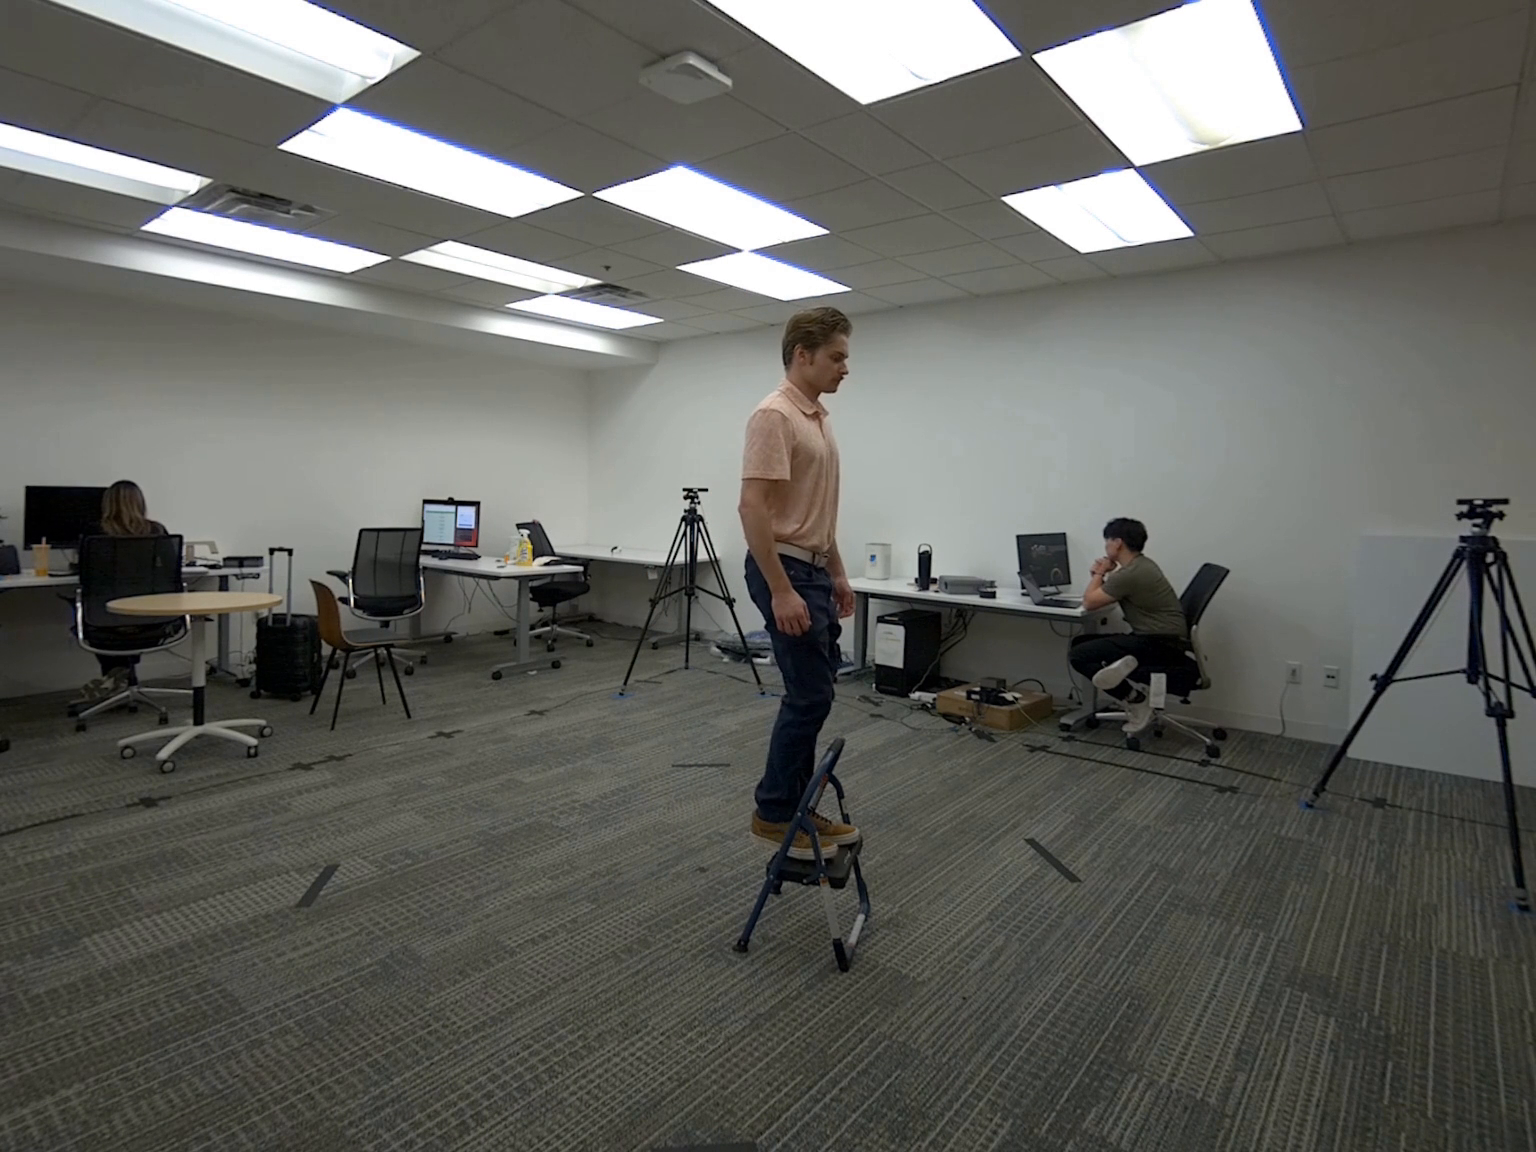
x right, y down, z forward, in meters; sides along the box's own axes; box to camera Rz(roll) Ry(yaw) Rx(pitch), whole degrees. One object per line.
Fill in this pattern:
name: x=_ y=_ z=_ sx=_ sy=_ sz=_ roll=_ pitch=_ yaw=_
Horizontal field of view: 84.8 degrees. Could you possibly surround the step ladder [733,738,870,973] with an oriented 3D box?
step ladder: x=0.124 y=0.818 z=2.685 sx=0.356 sy=0.604 sz=0.424 roll=3 pitch=4 yaw=17
